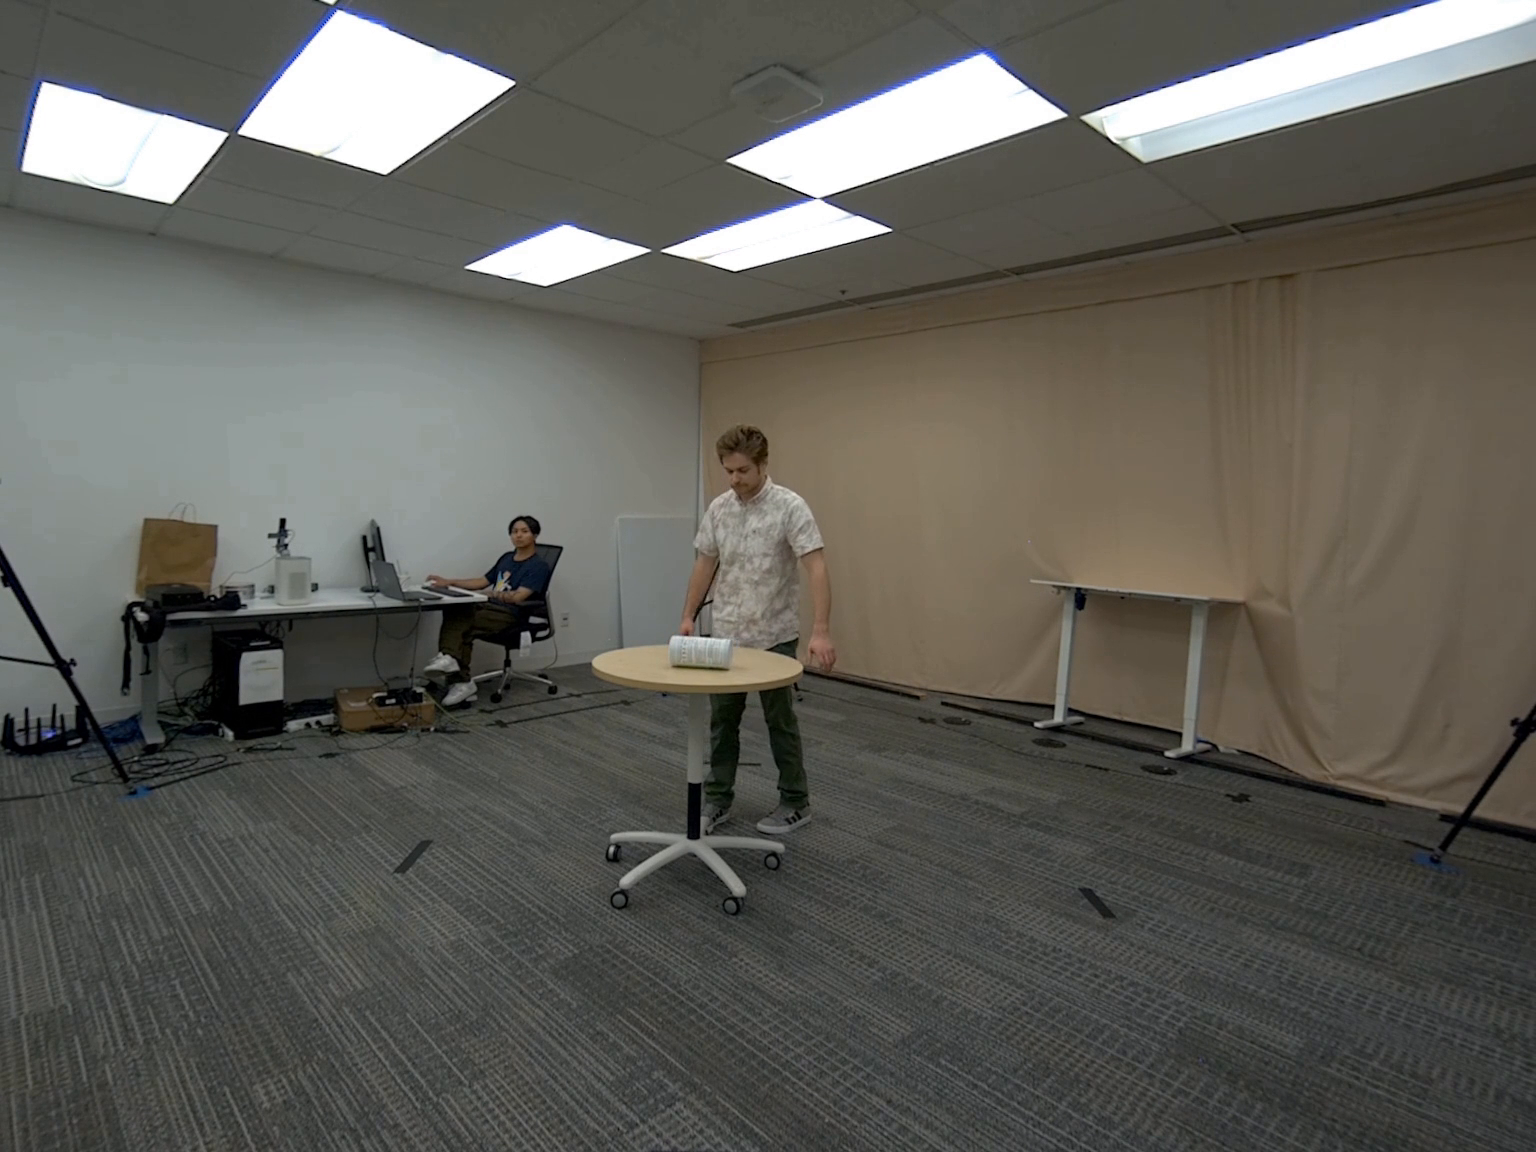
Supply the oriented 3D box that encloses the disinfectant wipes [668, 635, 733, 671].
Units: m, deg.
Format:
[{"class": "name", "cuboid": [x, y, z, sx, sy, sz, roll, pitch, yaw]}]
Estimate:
[{"class": "disinfectant wipes", "cuboid": [-0.246, 0.269, 2.971, 0.218, 0.117, 0.117, 2, 4, 5]}]
